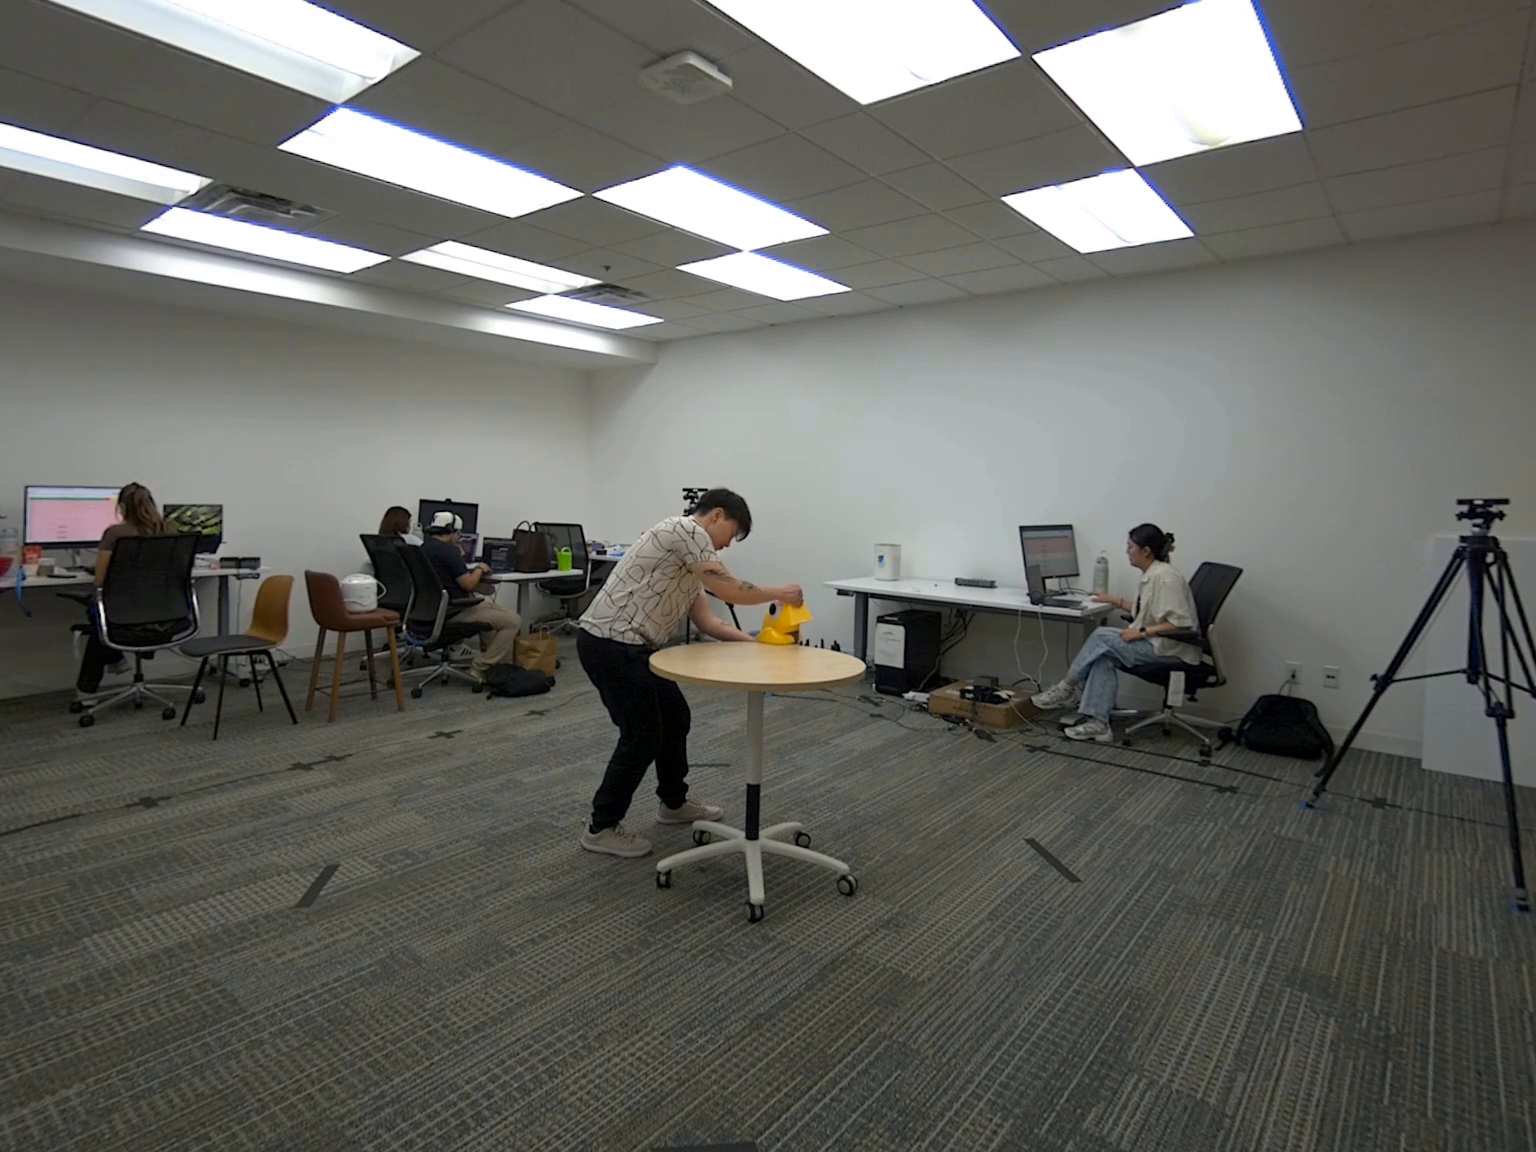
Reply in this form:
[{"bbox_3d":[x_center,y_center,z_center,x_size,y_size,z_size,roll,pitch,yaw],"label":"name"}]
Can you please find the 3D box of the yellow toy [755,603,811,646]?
[{"bbox_3d":[0.046,0.145,3.461,0.198,0.230,0.200,3,5,28],"label":"yellow toy"}]
